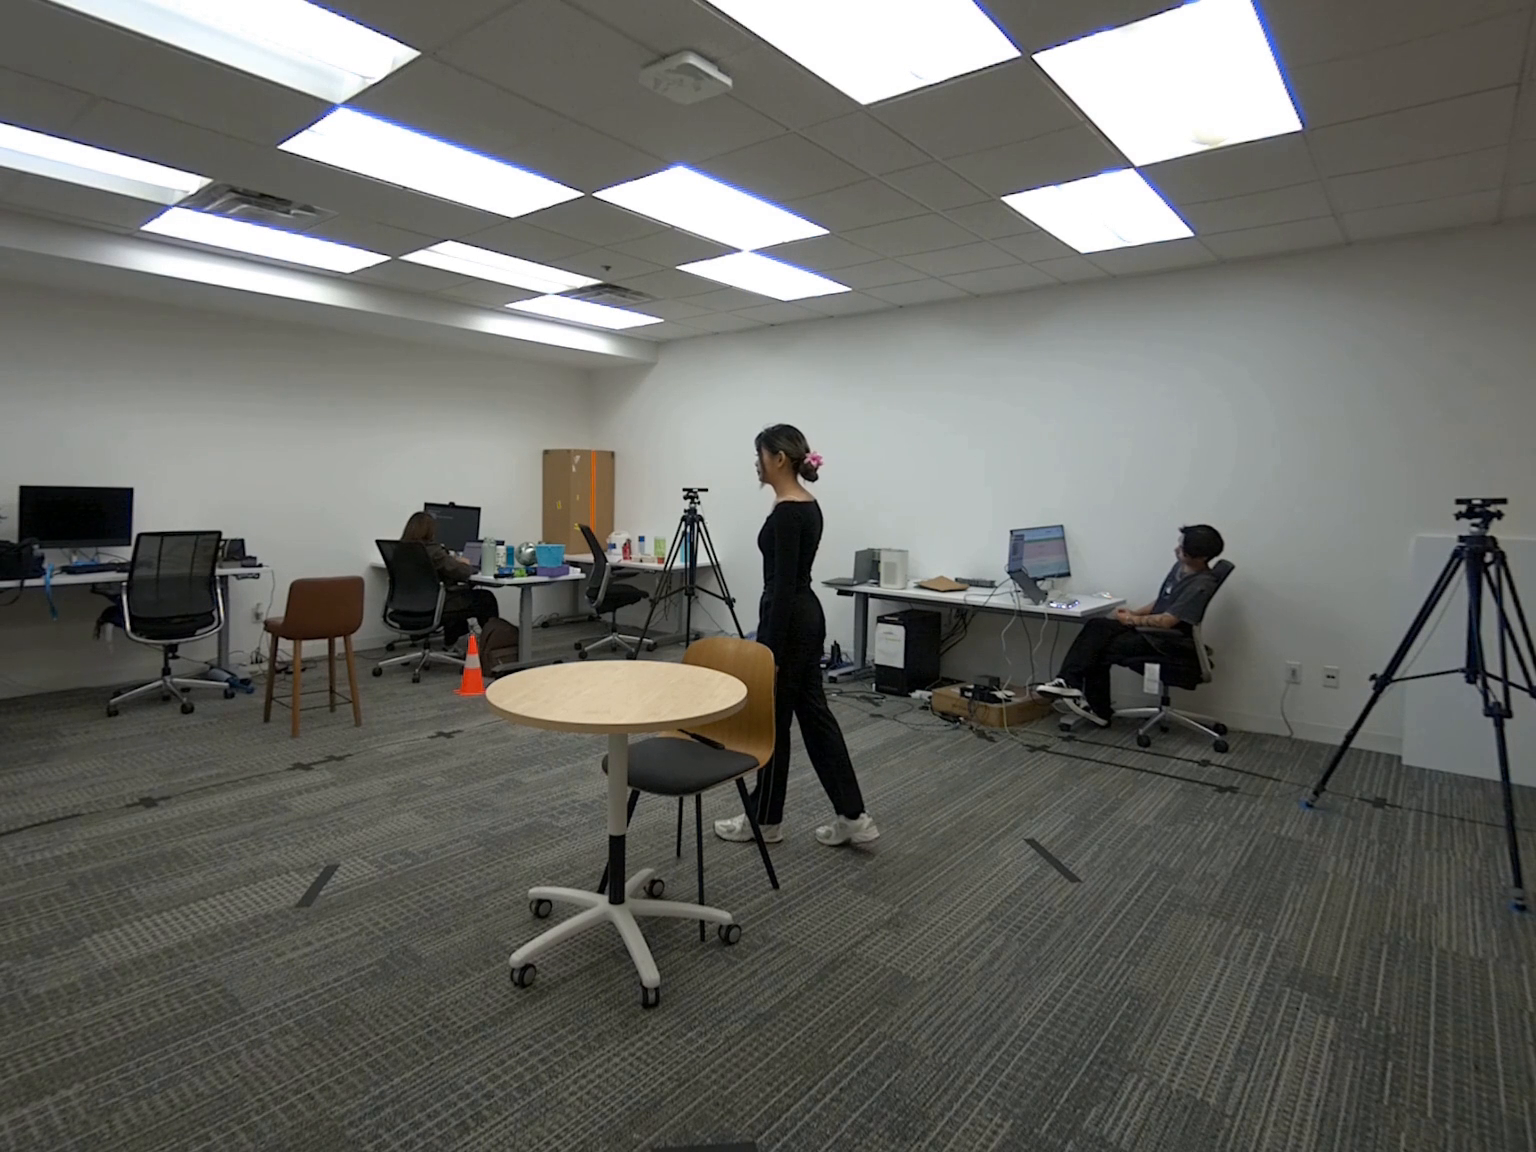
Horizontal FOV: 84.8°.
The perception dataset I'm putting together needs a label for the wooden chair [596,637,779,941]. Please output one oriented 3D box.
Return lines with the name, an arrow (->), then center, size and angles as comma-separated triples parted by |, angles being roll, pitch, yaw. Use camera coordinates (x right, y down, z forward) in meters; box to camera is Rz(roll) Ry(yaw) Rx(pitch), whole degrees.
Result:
wooden chair -> -0.278, 0.663, 2.881 | 0.493, 0.878, 0.506 | 4, 0, 35
